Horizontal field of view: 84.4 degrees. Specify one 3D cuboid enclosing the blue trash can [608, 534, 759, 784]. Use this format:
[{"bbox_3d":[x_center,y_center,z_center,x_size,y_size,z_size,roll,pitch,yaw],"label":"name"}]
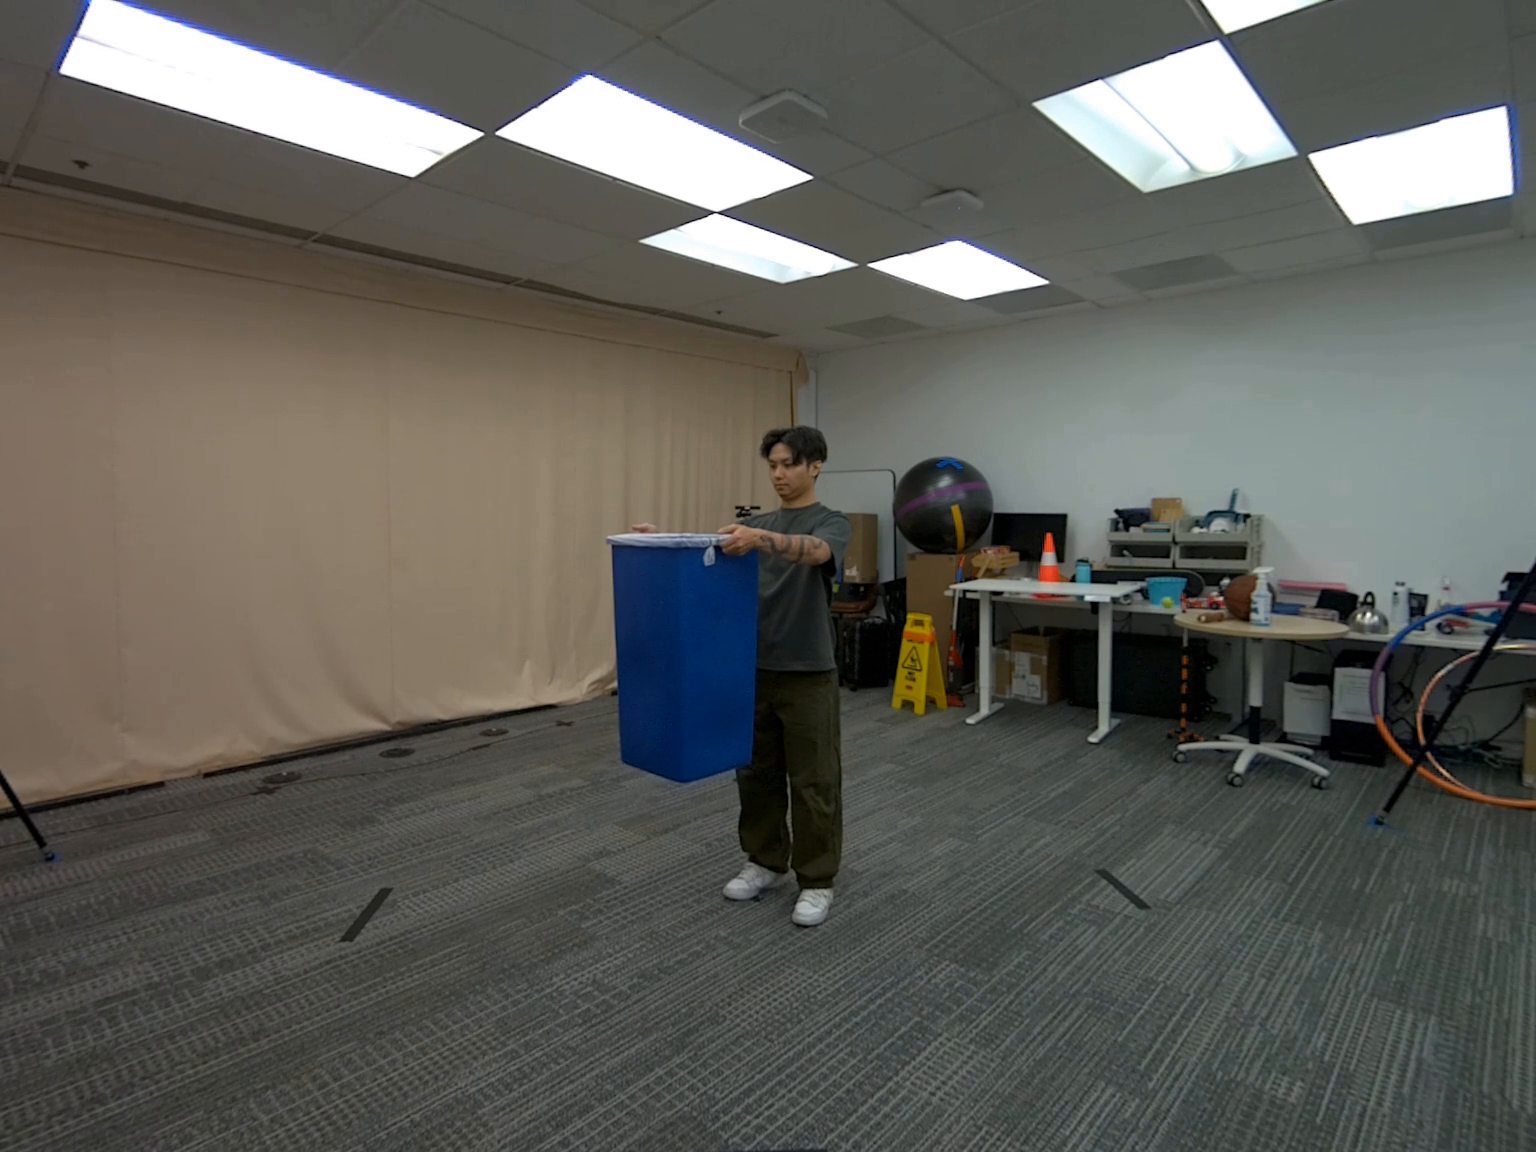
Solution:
[{"bbox_3d":[-0.256,0.237,2.625,0.390,0.712,0.362,2,3,42],"label":"blue trash can"}]
